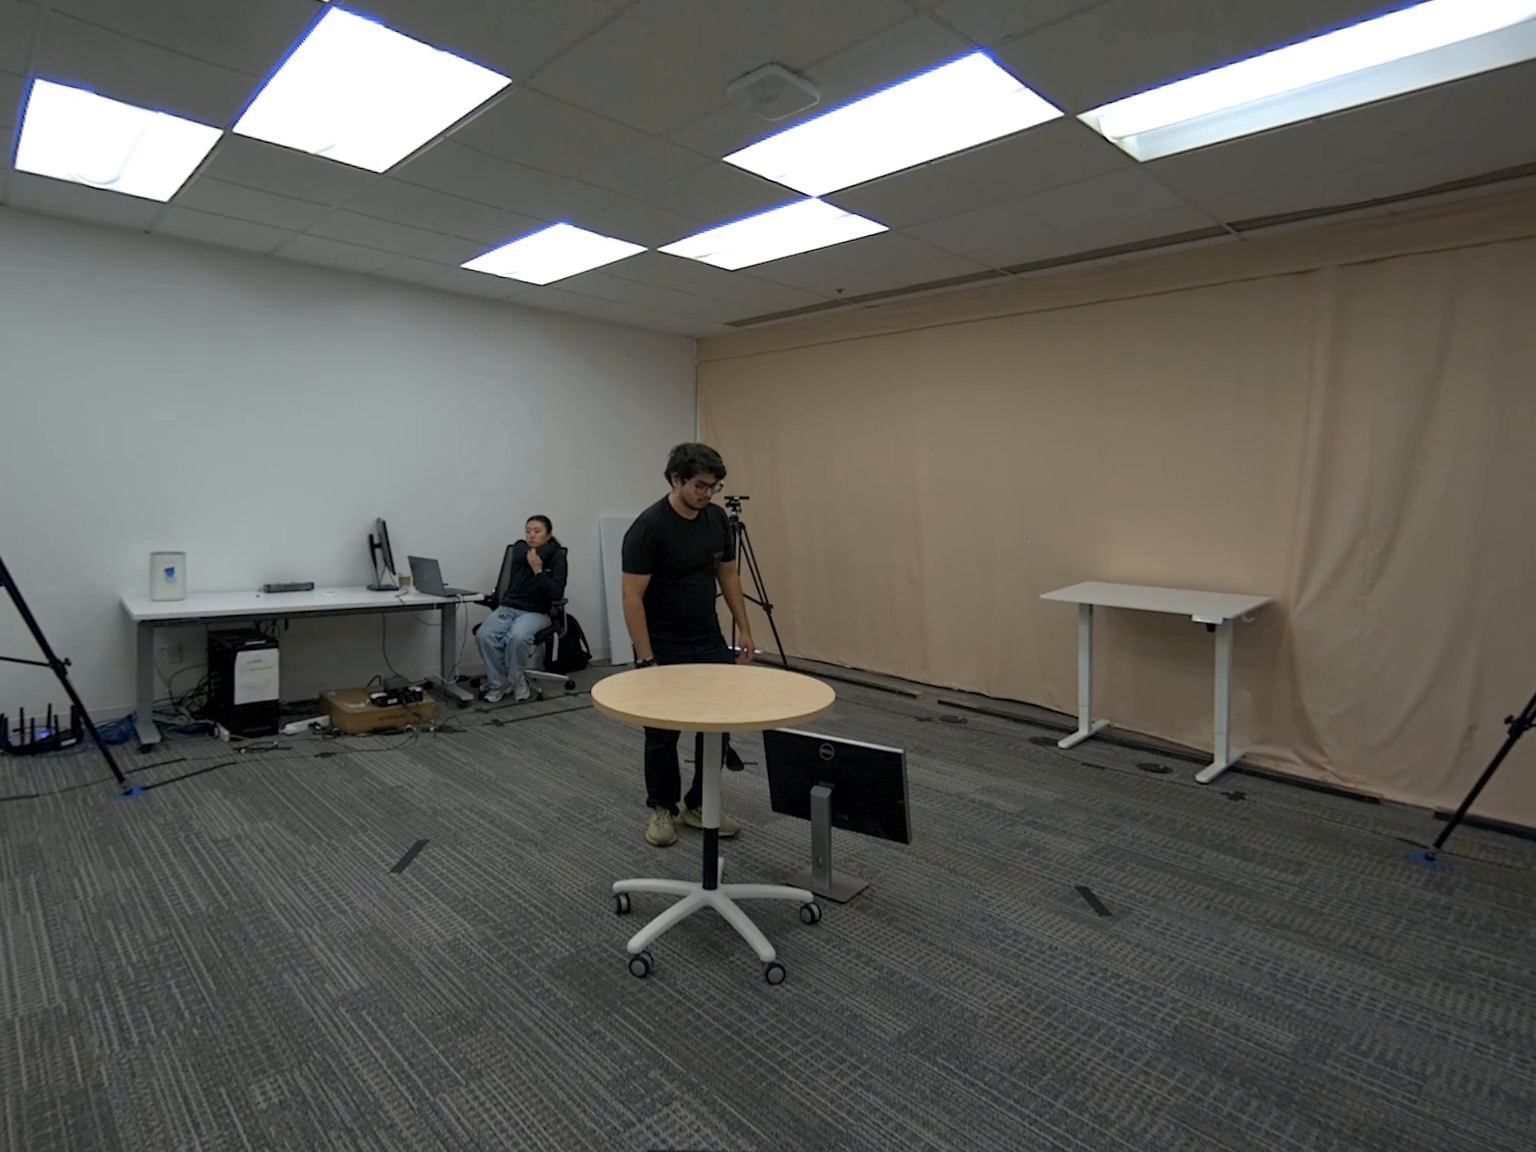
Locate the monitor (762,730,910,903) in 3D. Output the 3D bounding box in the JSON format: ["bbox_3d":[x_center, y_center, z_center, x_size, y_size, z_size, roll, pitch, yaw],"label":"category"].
[{"bbox_3d":[0.203,0.854,3.009,0.578,0.550,0.207,4,10,33],"label":"monitor"}]
